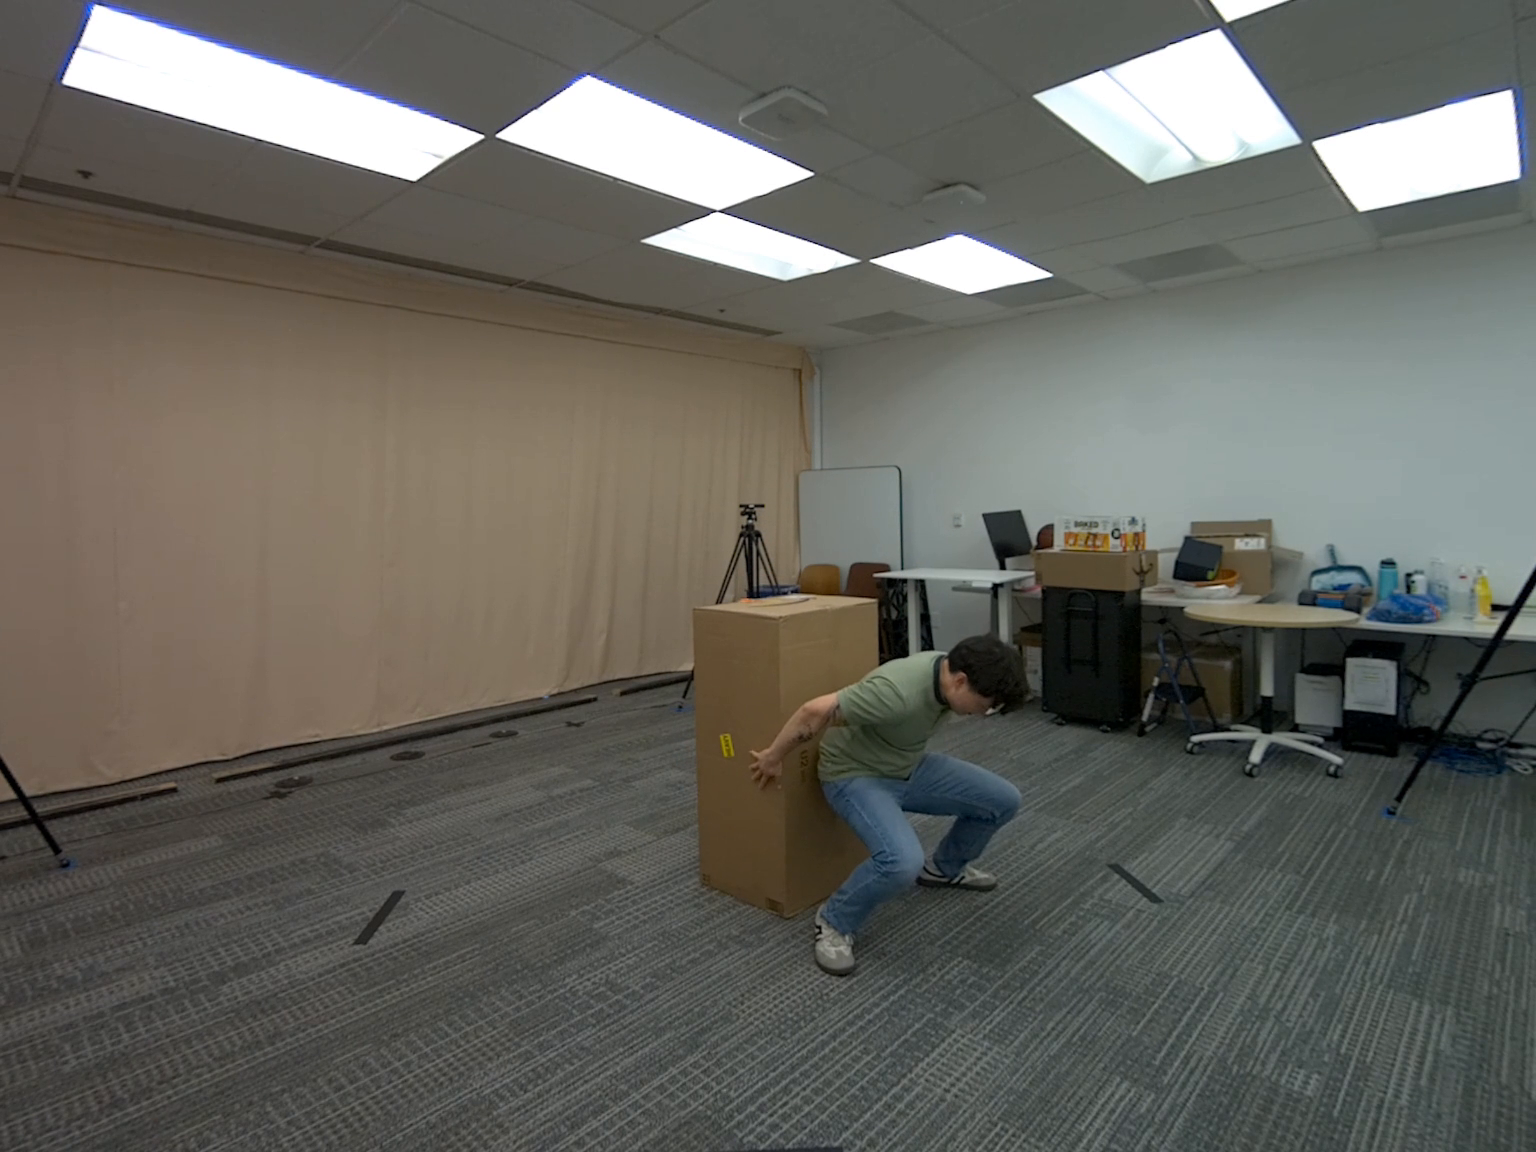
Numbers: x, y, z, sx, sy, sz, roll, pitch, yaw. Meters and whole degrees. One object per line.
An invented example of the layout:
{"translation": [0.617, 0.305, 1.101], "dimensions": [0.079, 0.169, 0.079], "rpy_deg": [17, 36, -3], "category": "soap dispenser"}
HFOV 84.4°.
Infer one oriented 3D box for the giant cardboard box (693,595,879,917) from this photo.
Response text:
{"translation": [0.079, 0.613, 3.141], "dimensions": [0.440, 1.023, 0.560], "rpy_deg": [2, 5, 44], "category": "giant cardboard box"}
